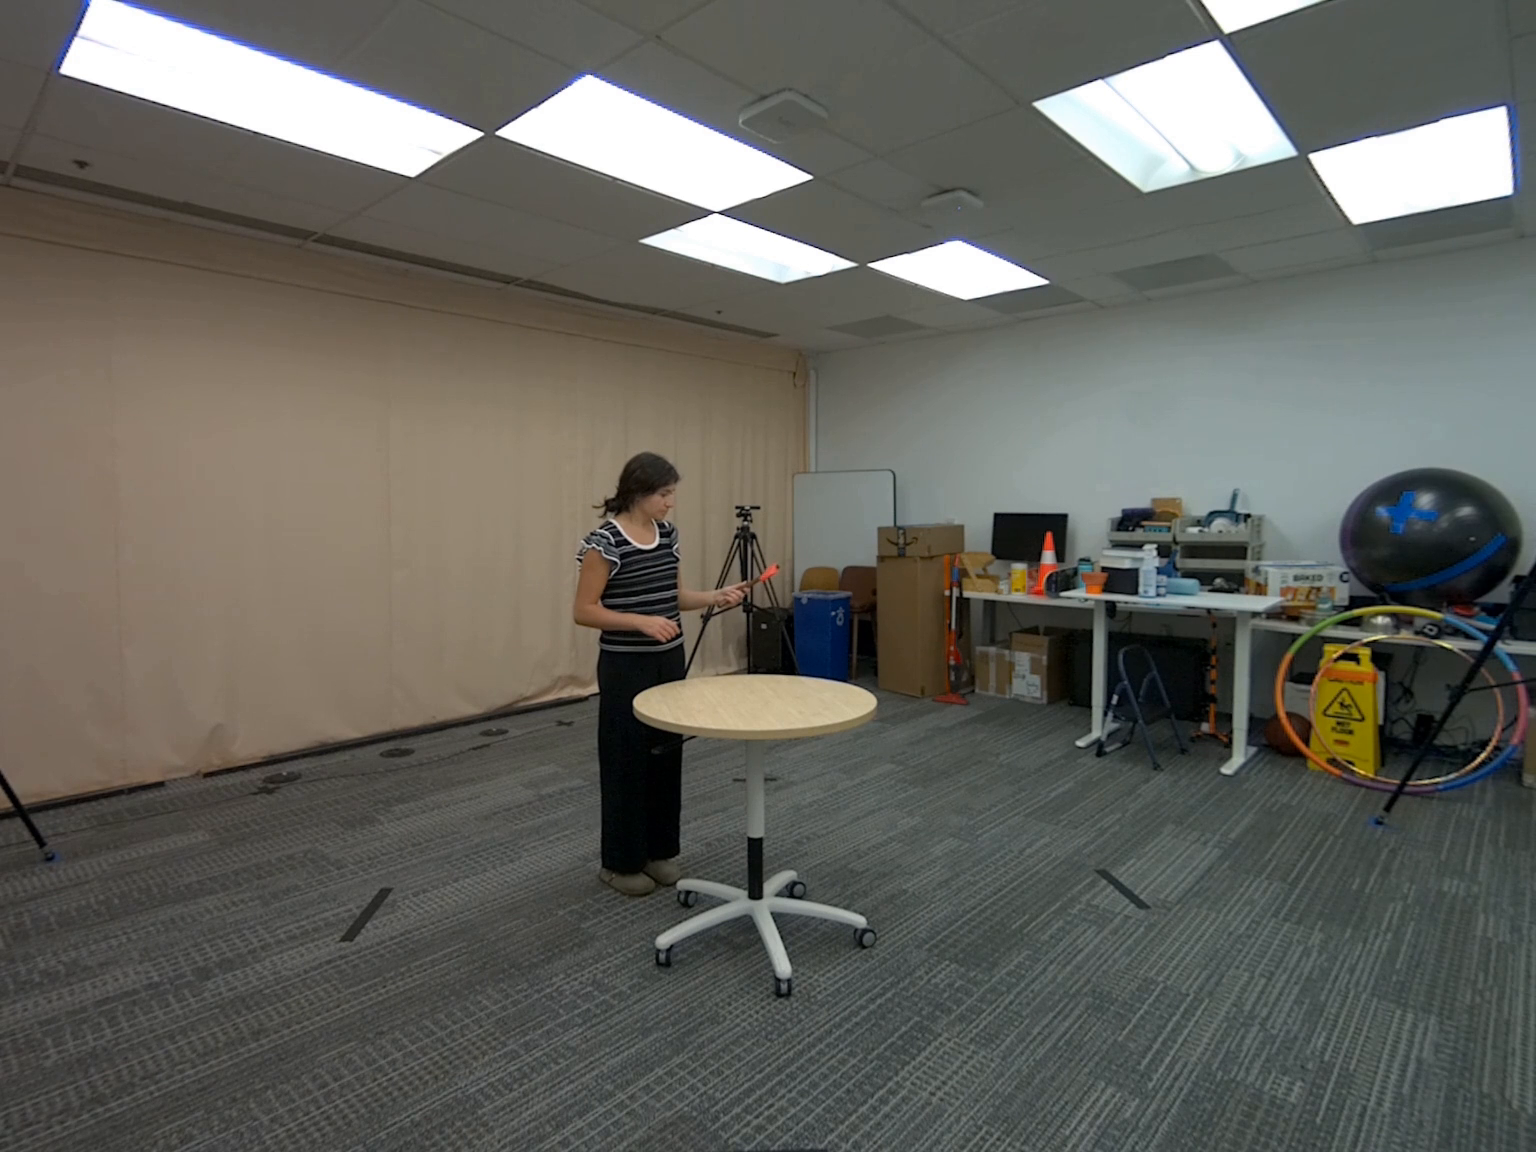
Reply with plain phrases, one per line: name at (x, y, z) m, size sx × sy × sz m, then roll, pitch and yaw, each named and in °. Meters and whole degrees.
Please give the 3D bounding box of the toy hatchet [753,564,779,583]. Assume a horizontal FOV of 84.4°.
toy hatchet at (-0.074, 0.033, 3.056) m, size 0.269 × 0.029 × 0.133 m, roll -30°, pitch 12°, yaw -4°
